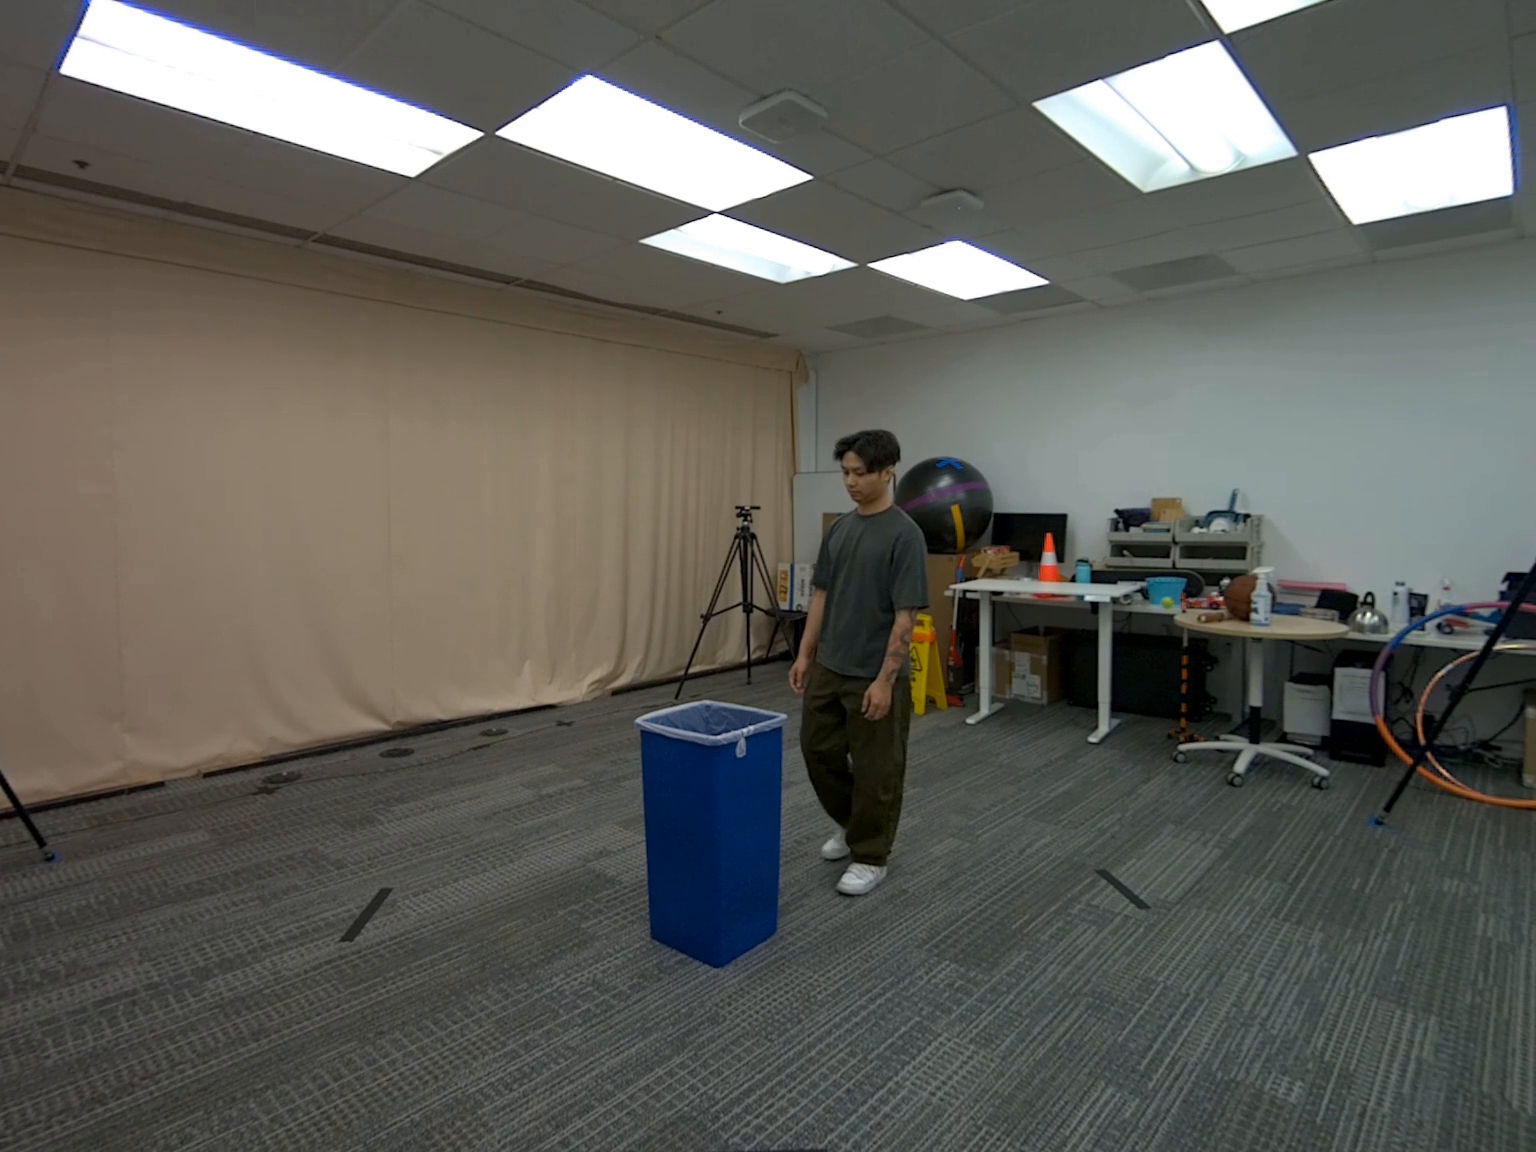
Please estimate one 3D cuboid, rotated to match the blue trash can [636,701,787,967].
[{"bbox_3d":[-0.177,0.811,2.712,0.390,0.713,0.363,1,3,38],"label":"blue trash can"}]
